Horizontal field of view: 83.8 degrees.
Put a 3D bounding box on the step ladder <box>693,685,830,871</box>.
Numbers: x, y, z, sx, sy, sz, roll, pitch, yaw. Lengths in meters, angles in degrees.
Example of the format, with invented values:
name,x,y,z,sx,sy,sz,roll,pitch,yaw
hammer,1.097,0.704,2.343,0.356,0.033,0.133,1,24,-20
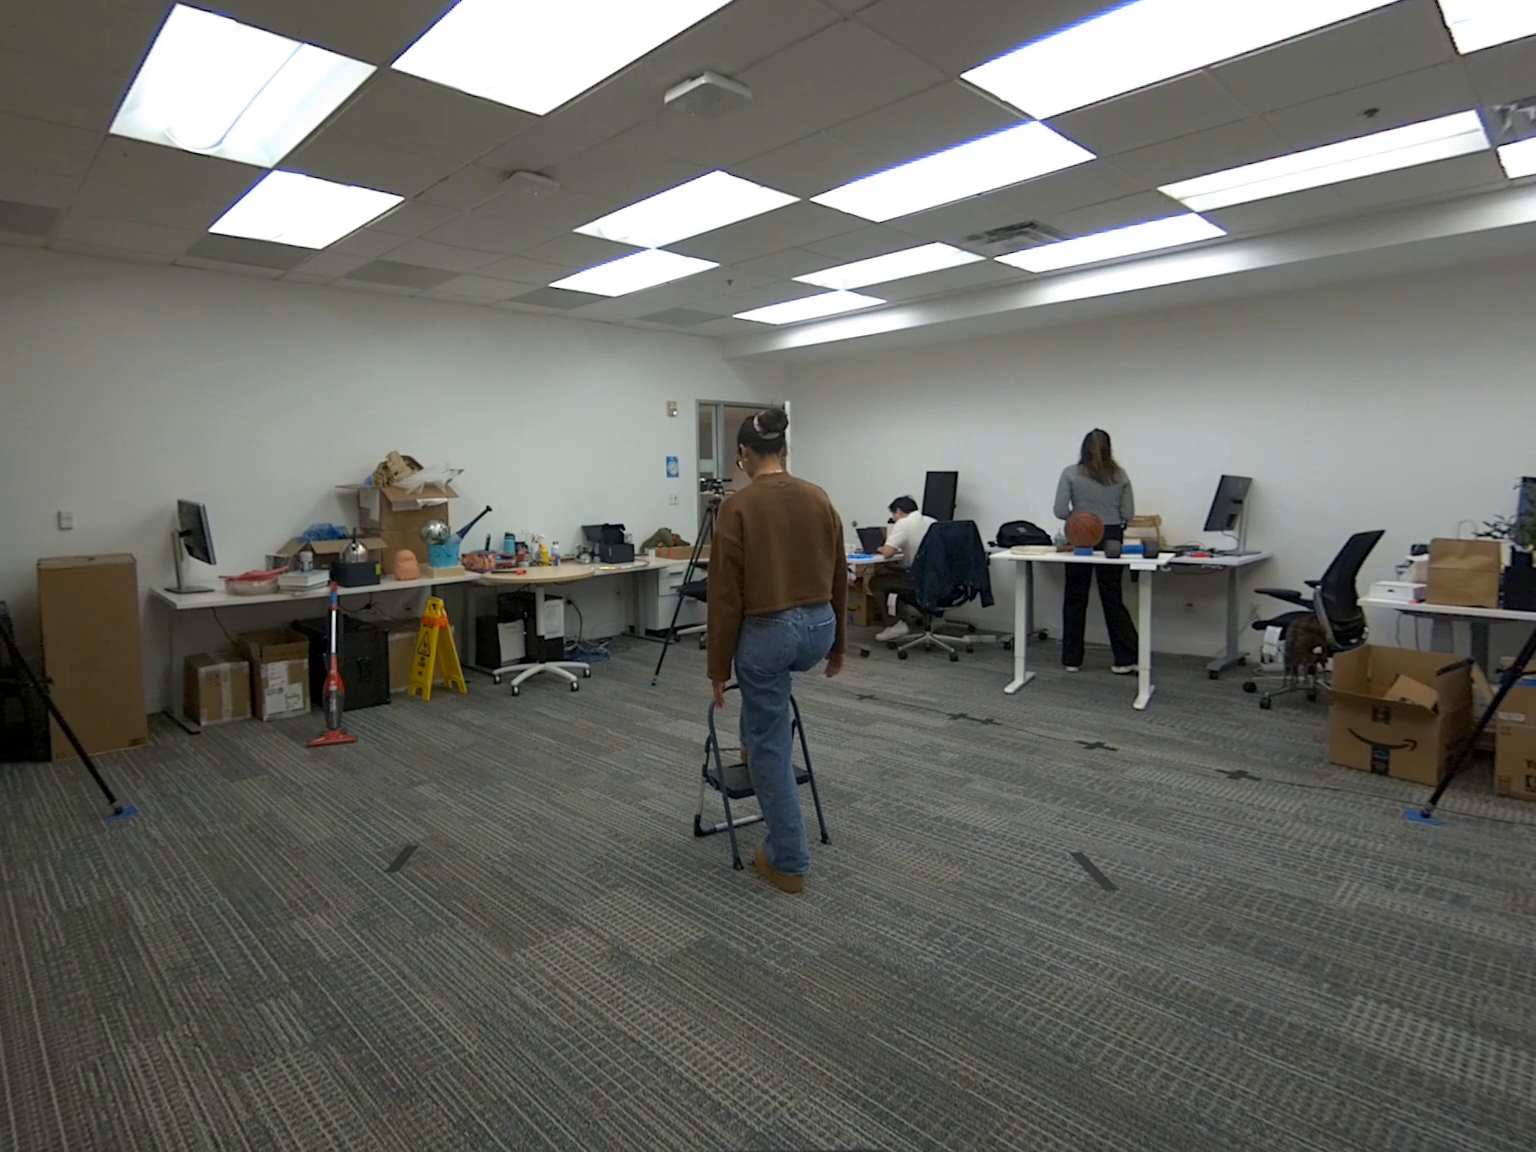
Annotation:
name,x,y,z,sx,sy,sz,roll,pitch,yaw
step ladder,-0.030,0.720,3.292,0.420,0.604,0.359,-4,4,-33
